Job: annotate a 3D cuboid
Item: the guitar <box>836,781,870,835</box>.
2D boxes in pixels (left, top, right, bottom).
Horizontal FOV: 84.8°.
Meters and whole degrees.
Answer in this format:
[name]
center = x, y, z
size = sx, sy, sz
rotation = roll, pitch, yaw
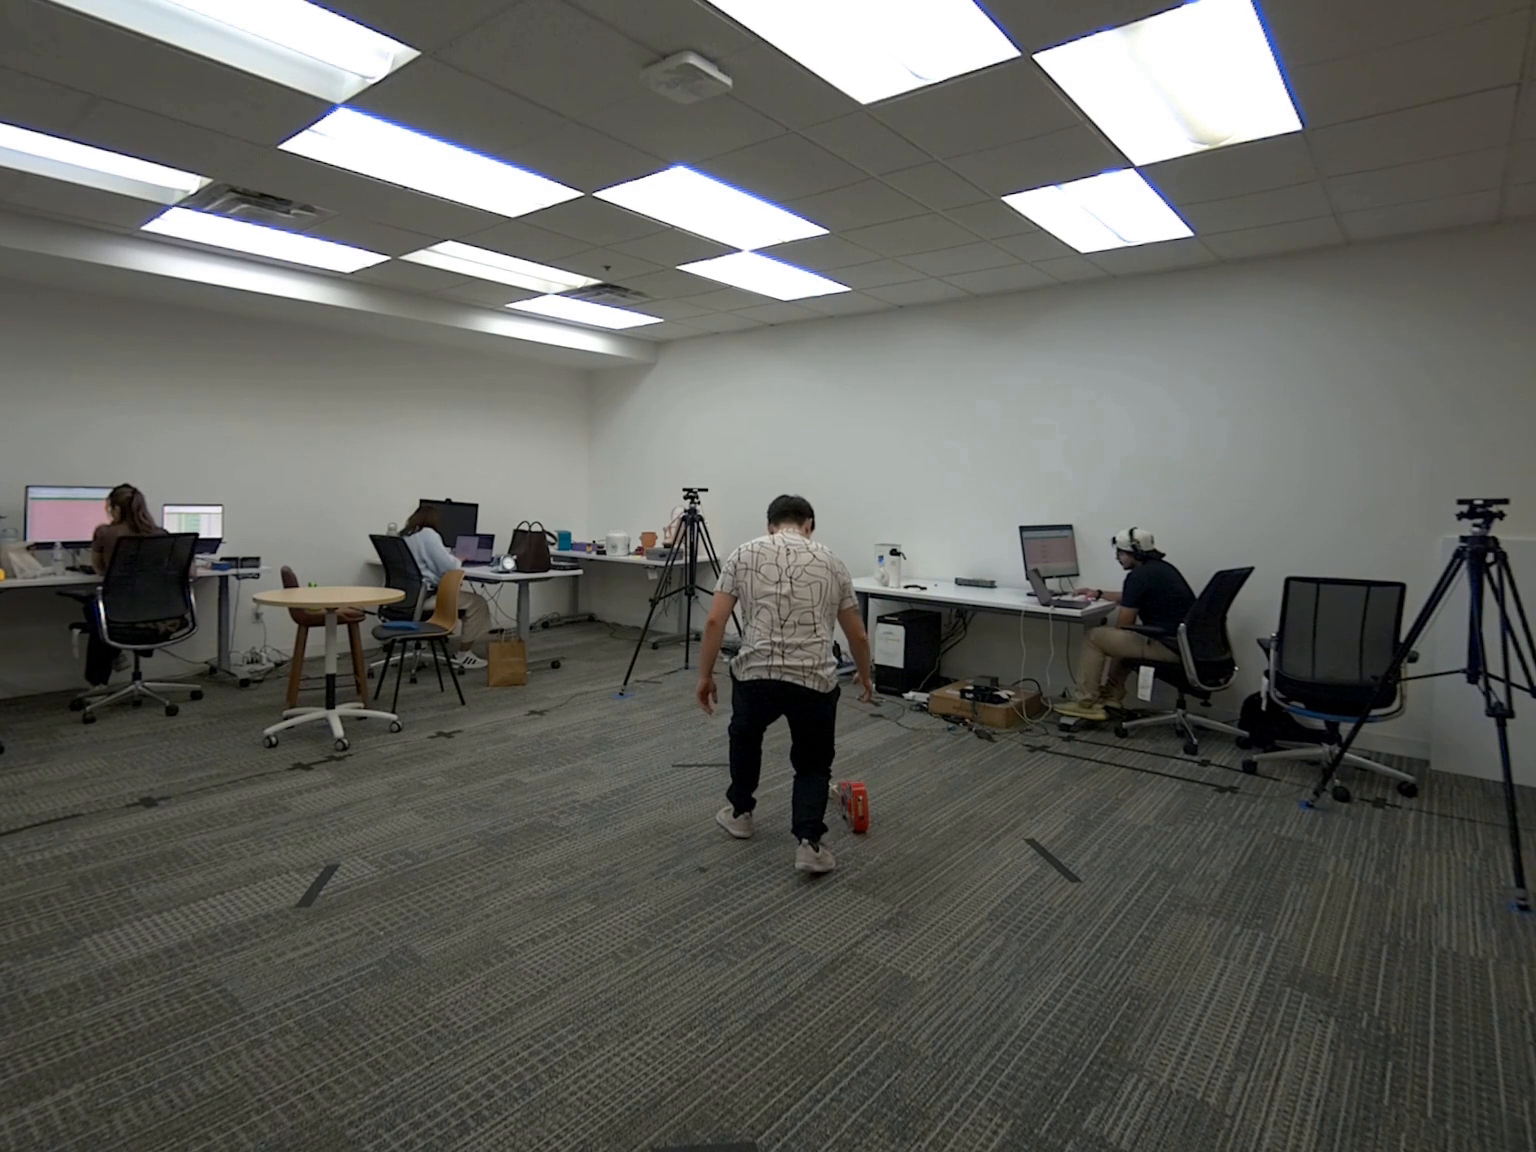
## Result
[guitar]
center = 0.325, 0.936, 3.694
size = 0.070, 0.192, 0.504
rotation = -3, 5, -11
